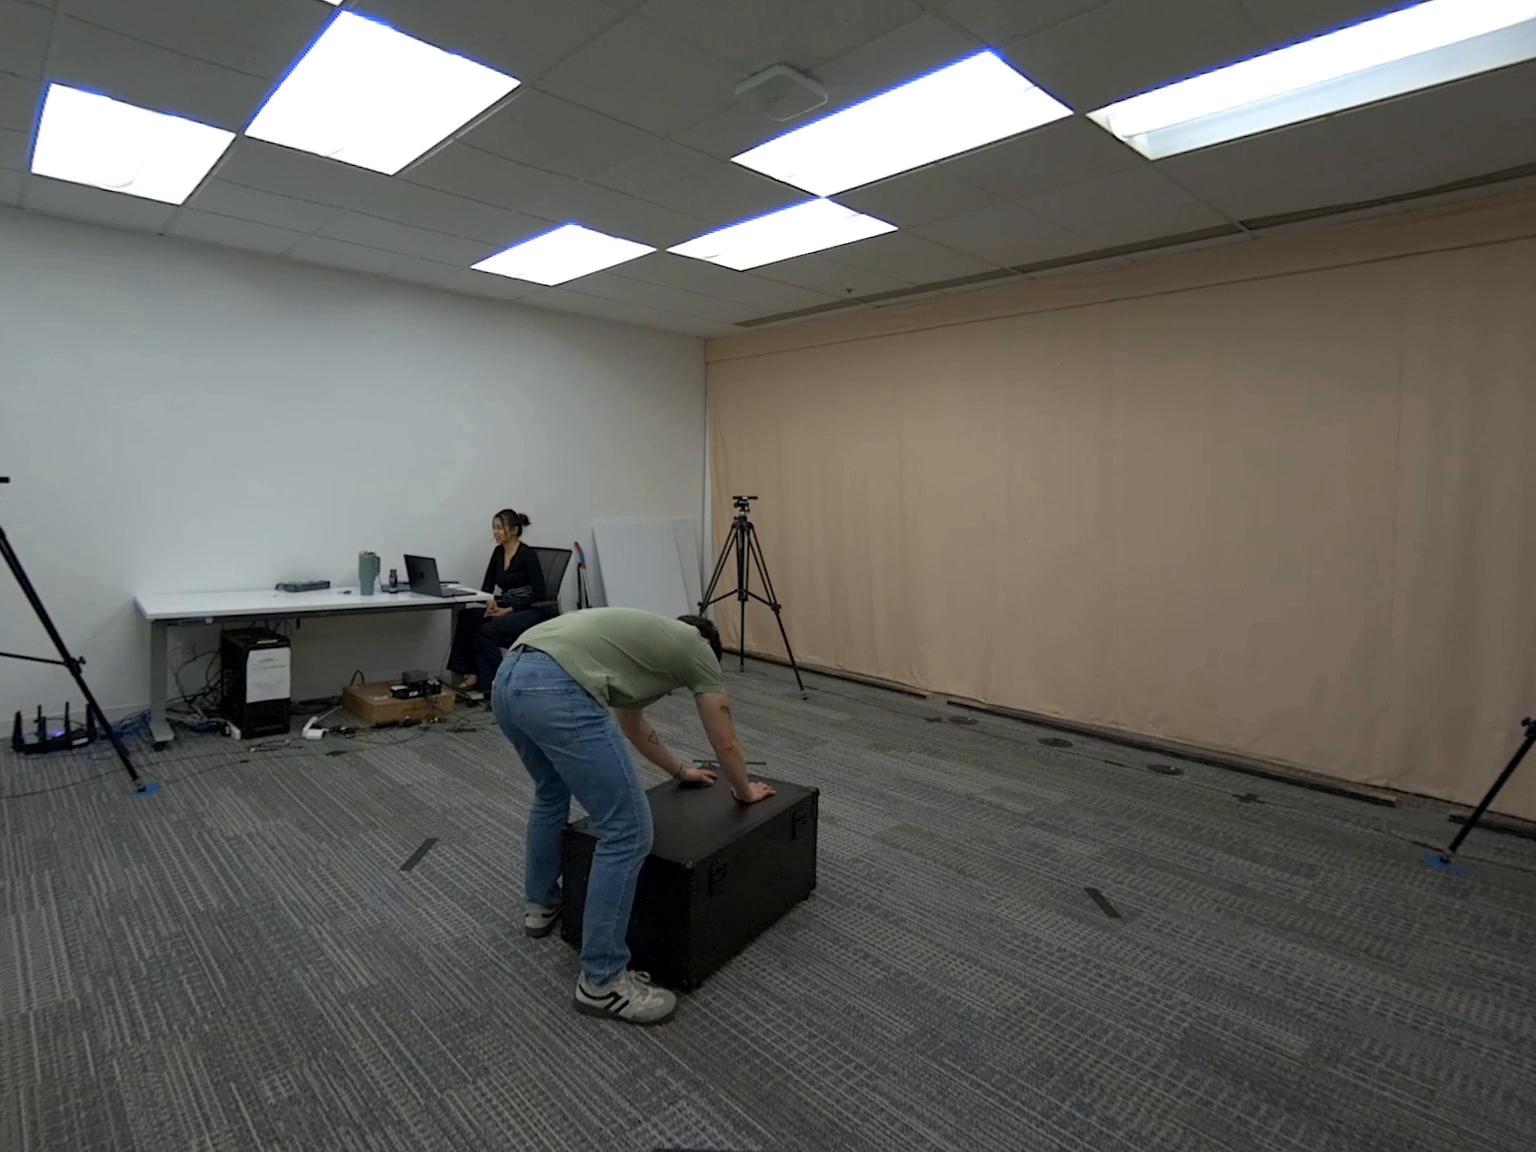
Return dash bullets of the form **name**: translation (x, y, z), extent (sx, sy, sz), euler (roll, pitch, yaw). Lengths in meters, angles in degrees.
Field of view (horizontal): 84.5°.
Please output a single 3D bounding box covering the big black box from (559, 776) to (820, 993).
- **big black box**: translation (-0.212, 0.944, 2.789), extent (0.533, 0.395, 0.845), euler (4, 6, 31)
